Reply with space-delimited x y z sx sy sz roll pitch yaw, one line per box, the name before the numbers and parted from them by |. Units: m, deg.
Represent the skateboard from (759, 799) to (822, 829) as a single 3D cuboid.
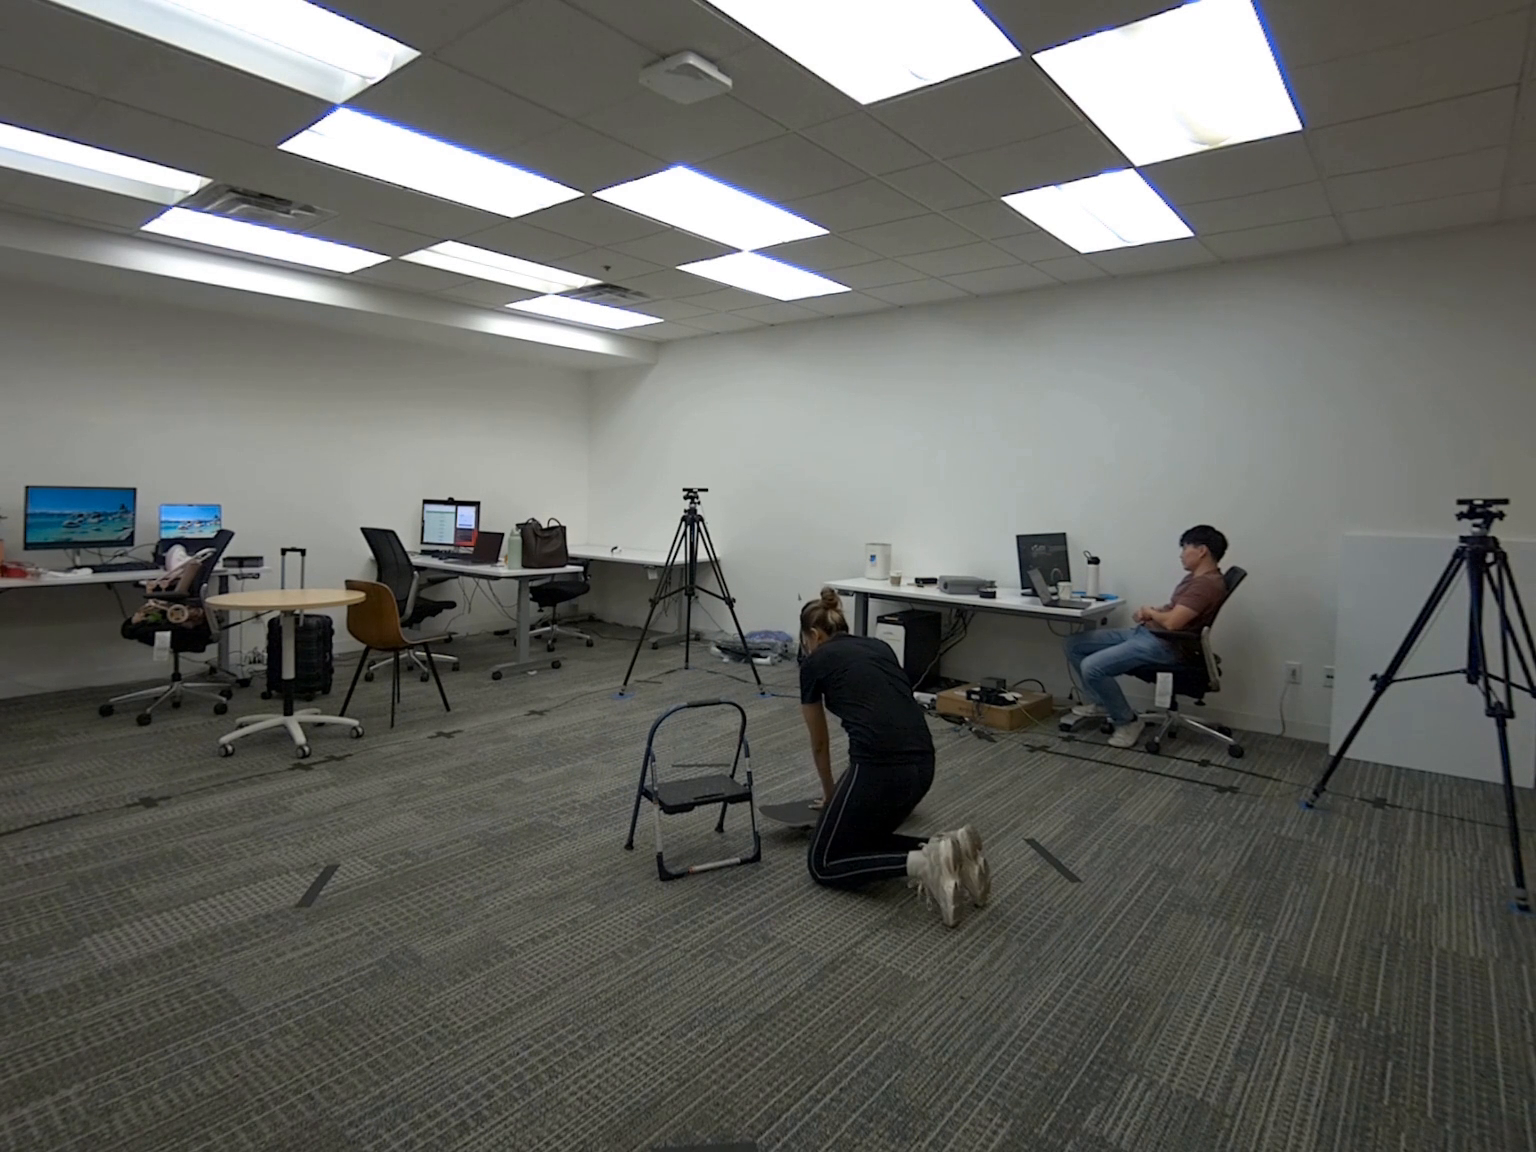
skateboard | 0.302 0.979 3.545 0.767 0.110 0.199 -1 8 -25
